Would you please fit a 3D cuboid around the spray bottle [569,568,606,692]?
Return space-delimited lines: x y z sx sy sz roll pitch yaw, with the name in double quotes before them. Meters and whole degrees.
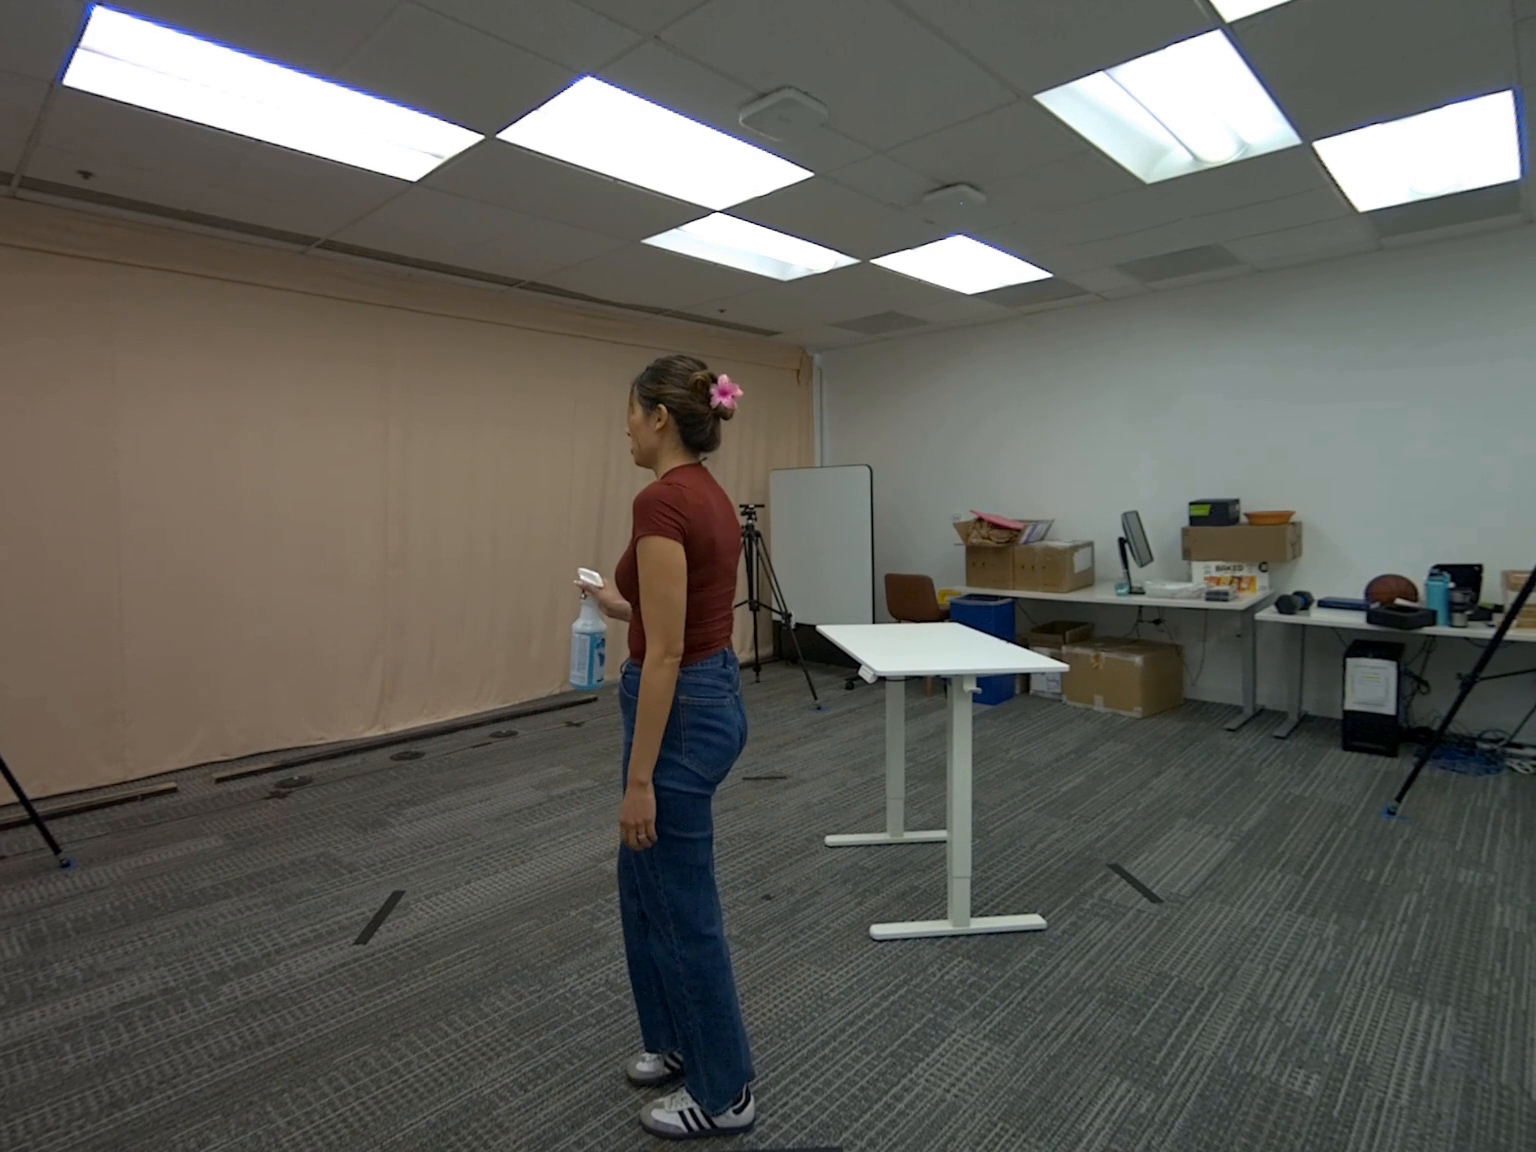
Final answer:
"spray bottle" -0.452 0.135 2.113 0.085 0.296 0.092 0 7 -20
